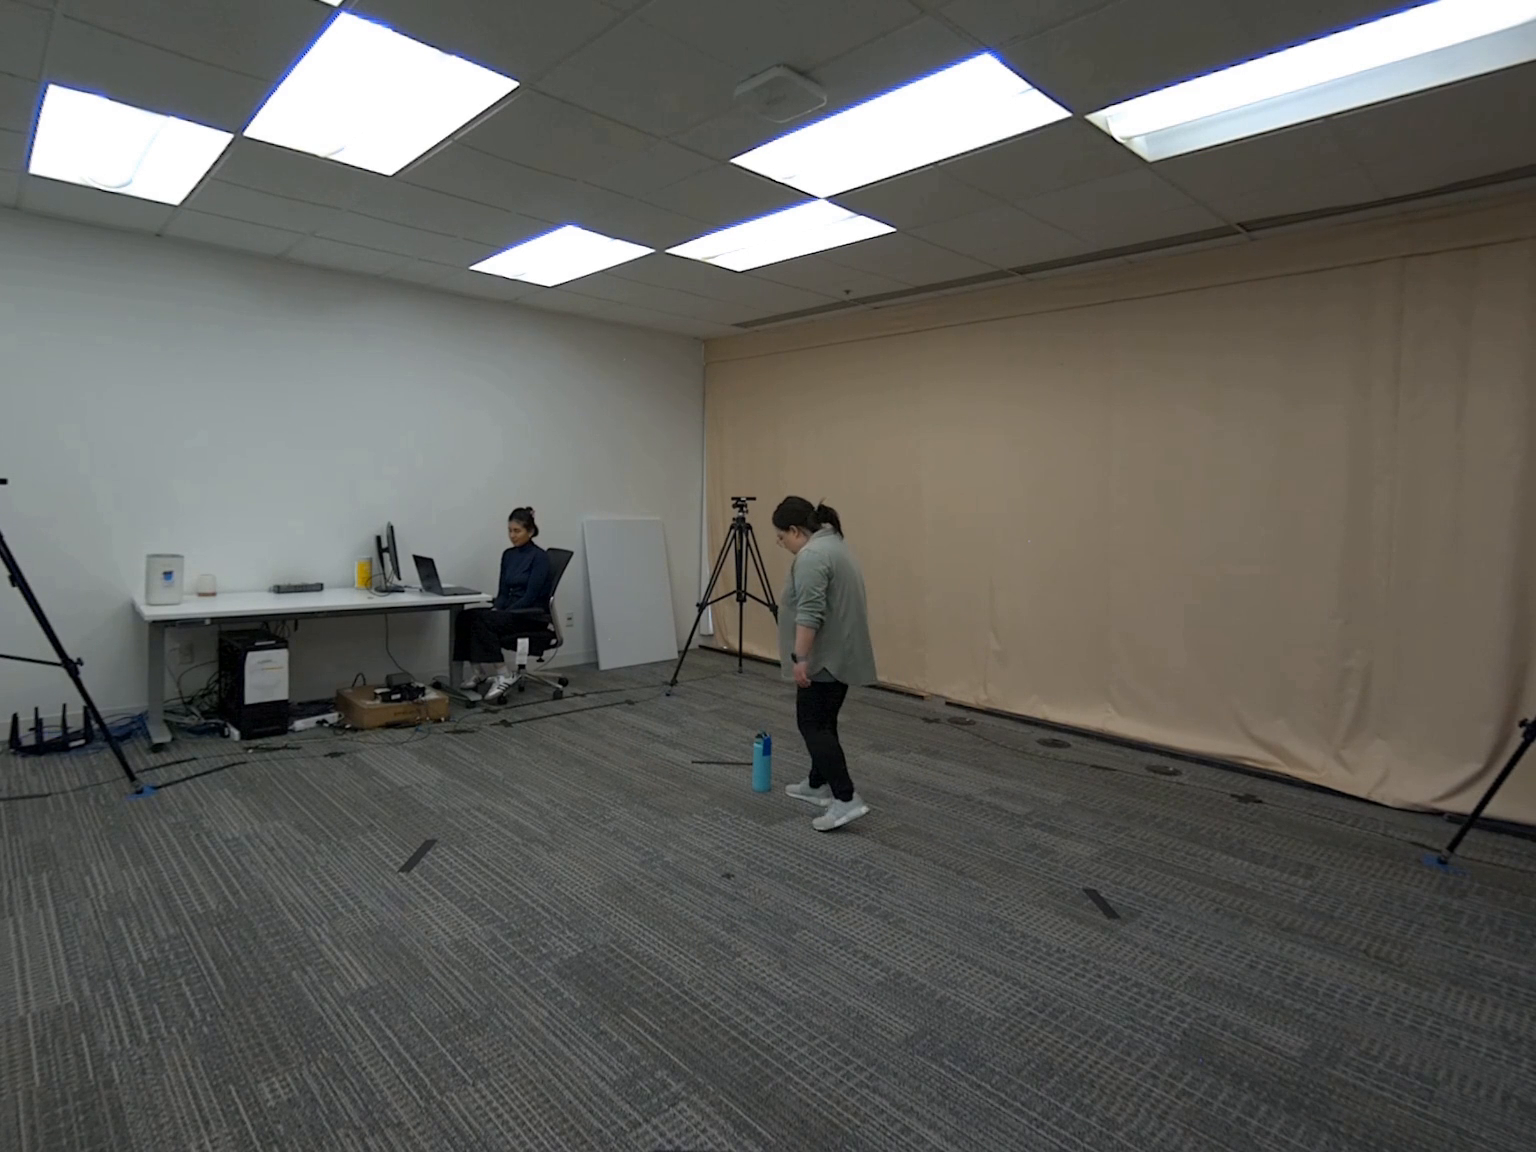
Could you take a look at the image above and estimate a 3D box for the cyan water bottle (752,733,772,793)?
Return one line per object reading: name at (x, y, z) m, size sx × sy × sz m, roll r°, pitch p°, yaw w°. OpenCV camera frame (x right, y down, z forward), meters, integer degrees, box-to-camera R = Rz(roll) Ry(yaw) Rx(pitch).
cyan water bottle at (-0.031, 0.884, 4.062) m, size 0.092 × 0.283 × 0.092 m, roll 4°, pitch 3°, yaw -2°
